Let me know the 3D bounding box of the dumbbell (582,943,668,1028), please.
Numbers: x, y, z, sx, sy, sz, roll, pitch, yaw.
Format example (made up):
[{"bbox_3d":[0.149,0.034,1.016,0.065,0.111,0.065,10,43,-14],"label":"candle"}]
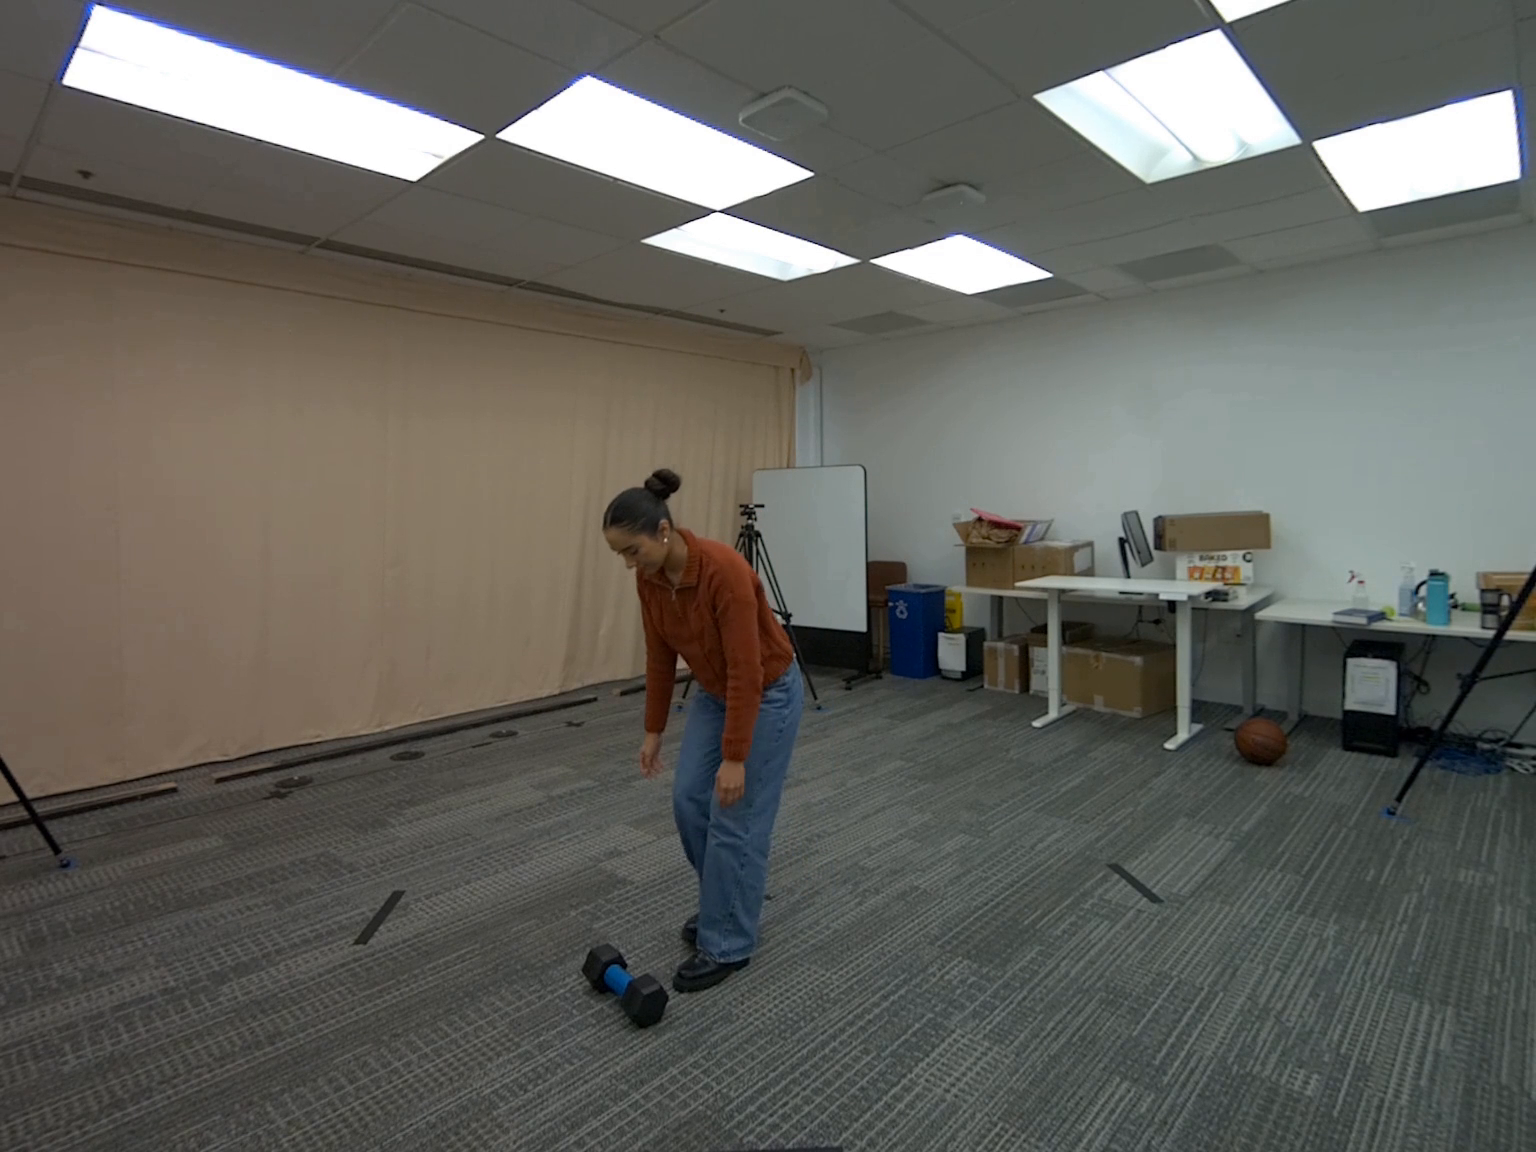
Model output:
[{"bbox_3d":[-0.406,1.149,2.360,0.107,0.120,0.303,-38,26,-31],"label":"dumbbell"}]
